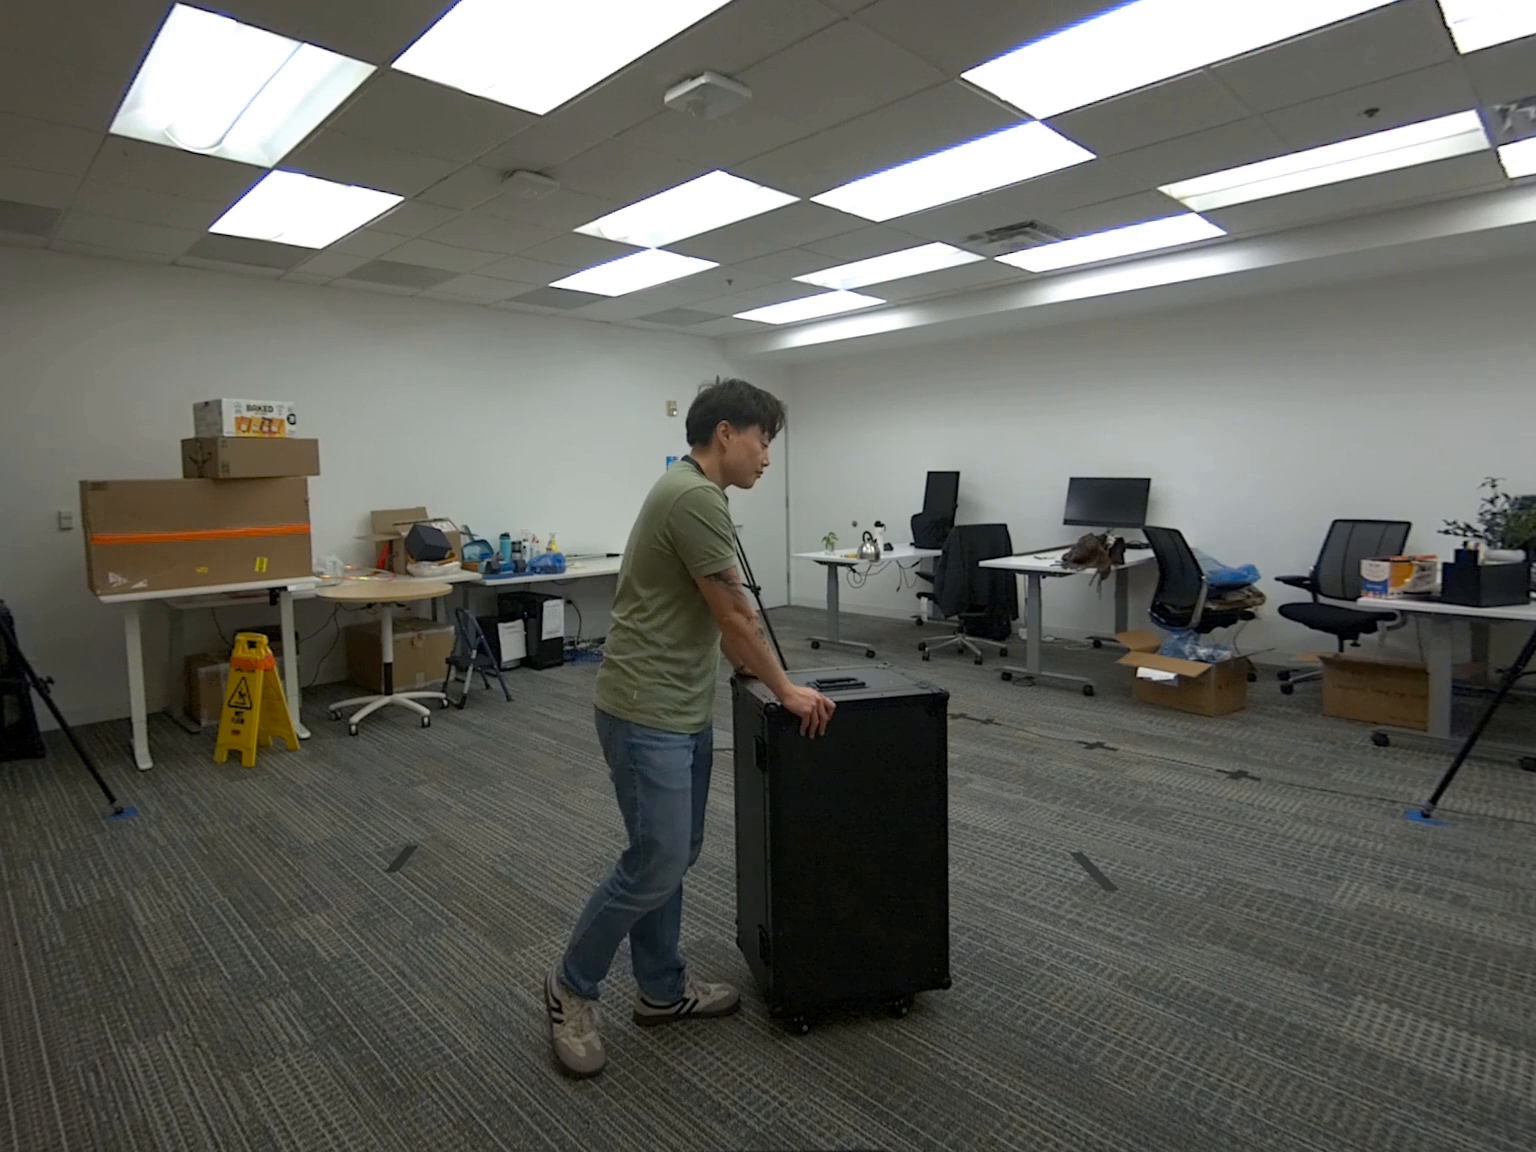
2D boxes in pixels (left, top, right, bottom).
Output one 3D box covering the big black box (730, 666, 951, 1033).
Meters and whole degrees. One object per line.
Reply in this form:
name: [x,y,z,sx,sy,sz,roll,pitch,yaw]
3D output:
big black box: [0.184,0.709,2.315,0.514,0.859,0.403,-3,3,-15]
